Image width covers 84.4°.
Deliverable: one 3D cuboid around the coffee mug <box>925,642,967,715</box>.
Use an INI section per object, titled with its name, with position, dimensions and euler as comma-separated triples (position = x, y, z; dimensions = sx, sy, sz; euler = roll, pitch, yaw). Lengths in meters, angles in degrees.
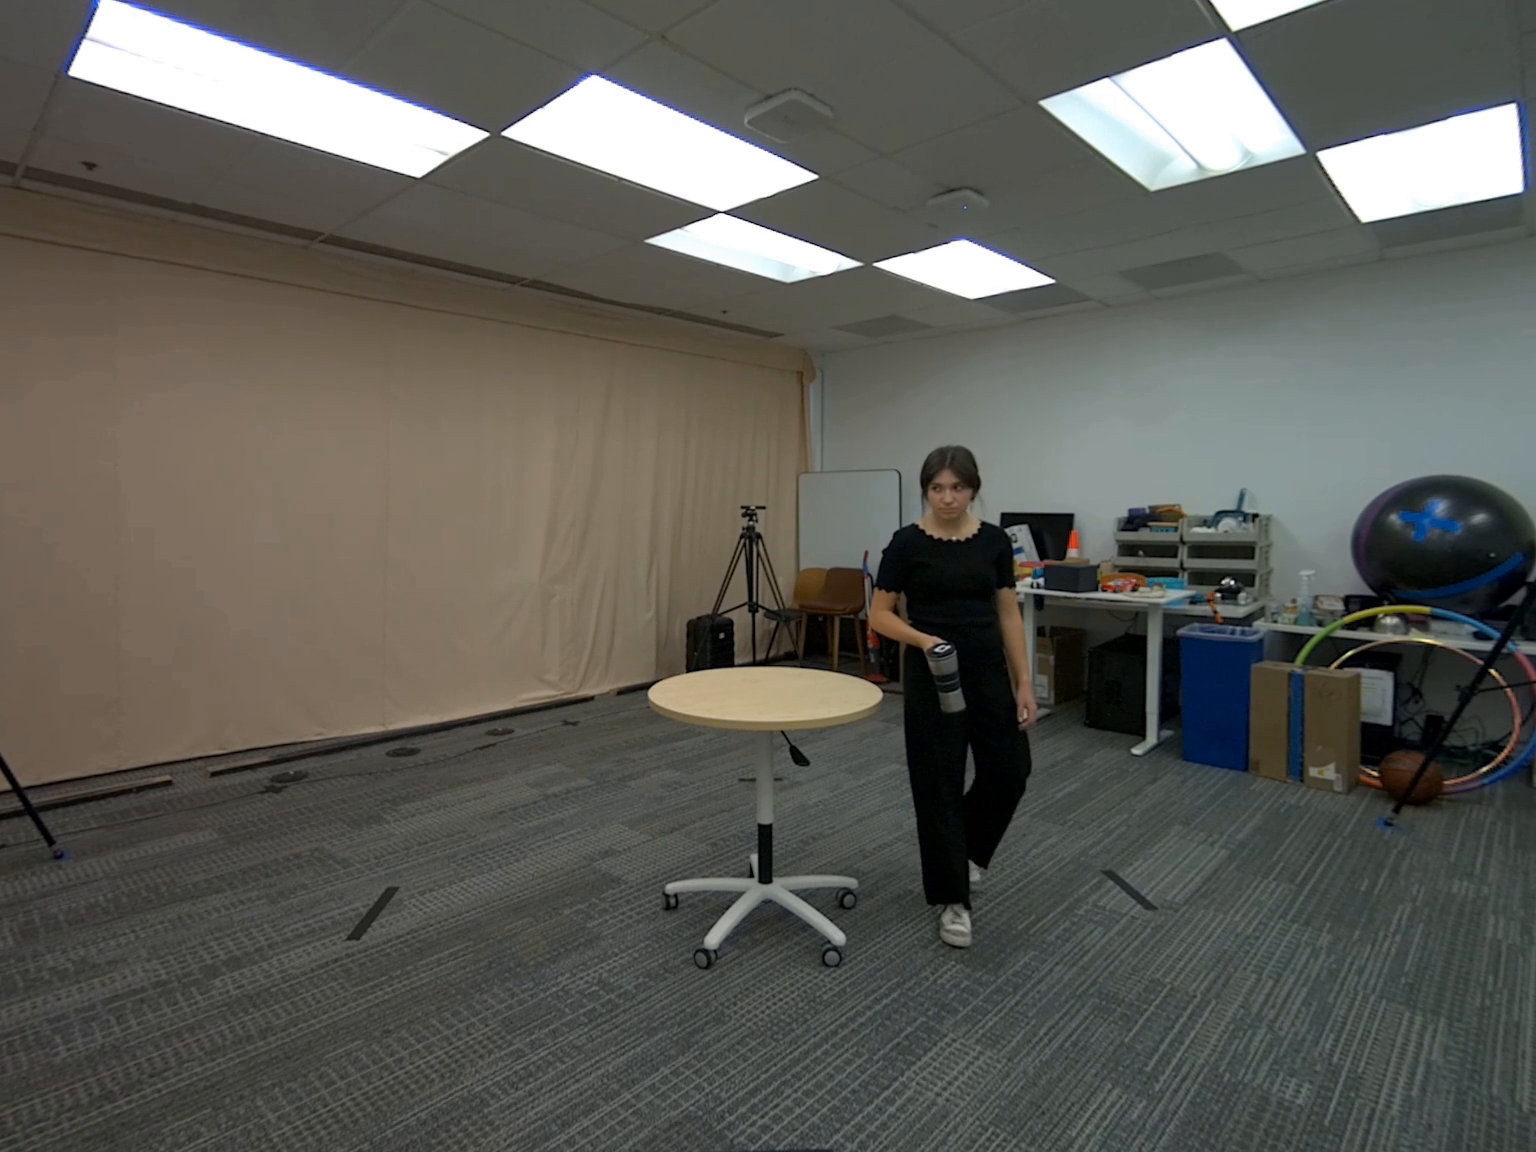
[coffee mug]
position = 0.562, 0.310, 2.564
dimensions = 0.090, 0.201, 0.119
euler = -8, 13, 43
